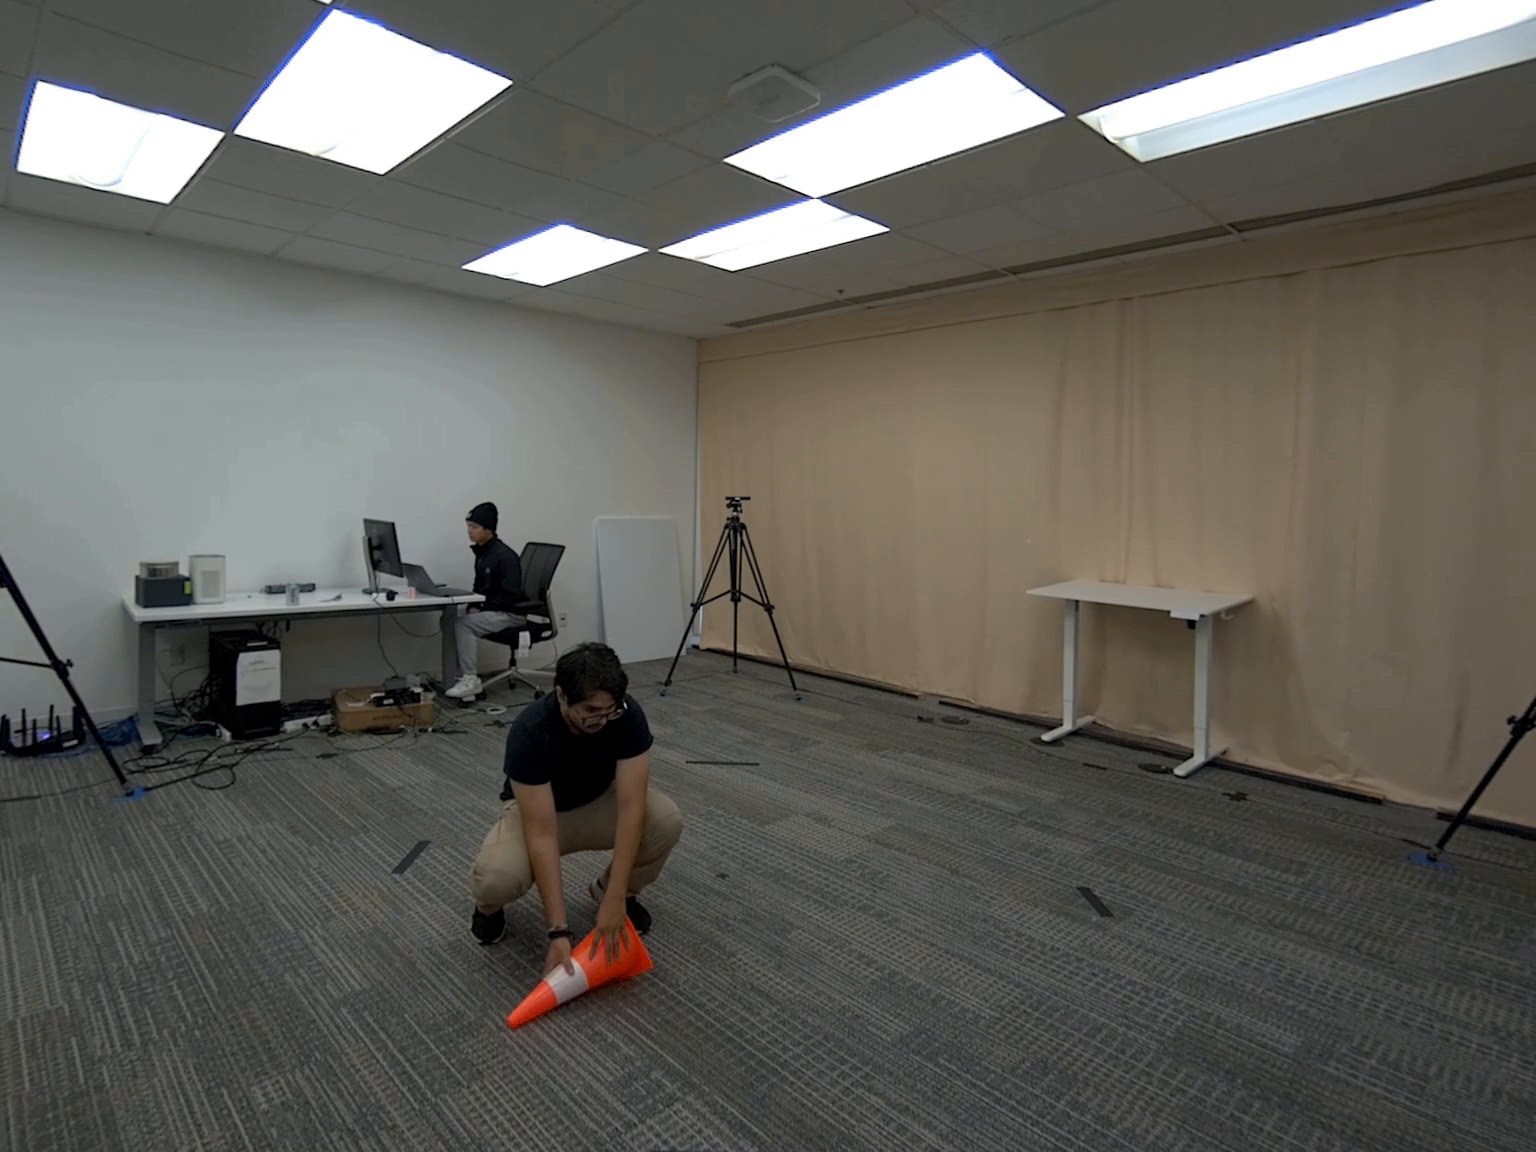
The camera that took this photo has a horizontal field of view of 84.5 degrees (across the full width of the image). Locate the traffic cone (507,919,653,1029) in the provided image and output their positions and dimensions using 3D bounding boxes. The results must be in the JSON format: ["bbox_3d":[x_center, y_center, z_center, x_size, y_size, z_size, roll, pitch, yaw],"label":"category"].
[{"bbox_3d":[-0.554,1.115,2.309,0.378,0.206,0.205,-21,-18,-41],"label":"traffic cone"}]
